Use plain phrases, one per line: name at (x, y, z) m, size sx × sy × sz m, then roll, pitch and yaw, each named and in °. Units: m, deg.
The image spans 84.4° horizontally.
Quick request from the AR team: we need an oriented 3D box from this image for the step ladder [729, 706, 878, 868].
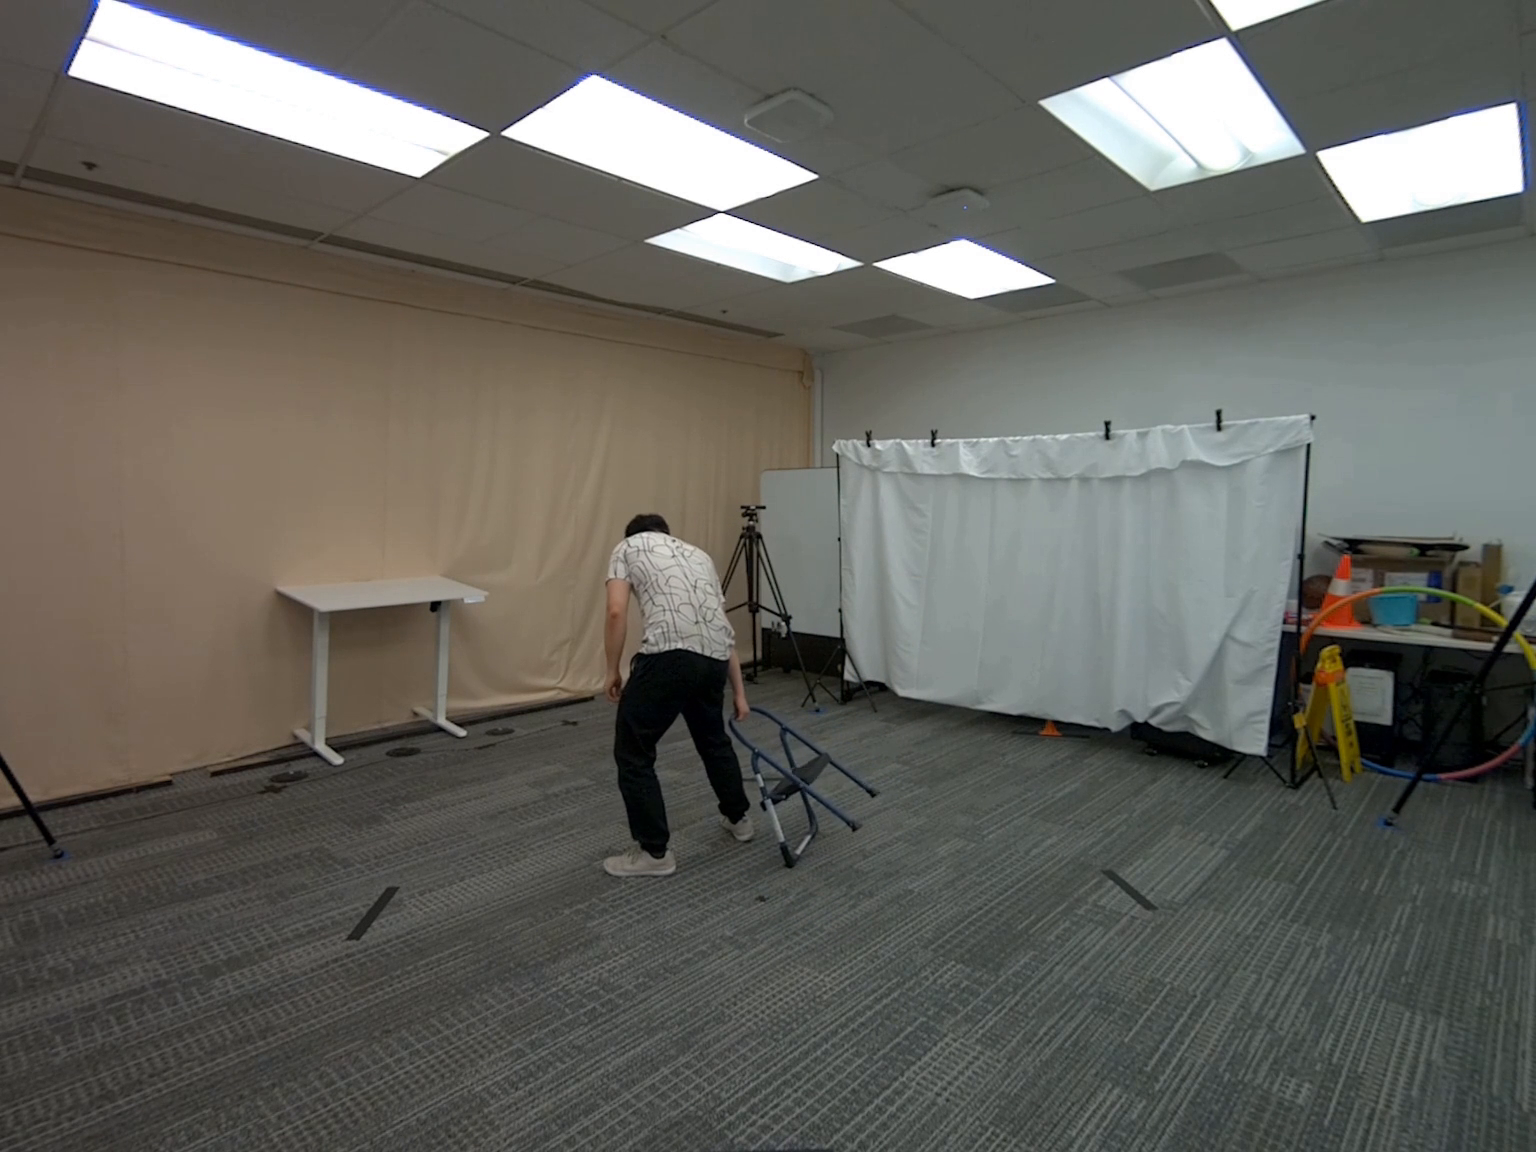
step ladder at (0.106, 0.772, 3.418) m, size 0.352 × 0.613 × 0.422 m, roll -37°, pitch -10°, yaw 17°
